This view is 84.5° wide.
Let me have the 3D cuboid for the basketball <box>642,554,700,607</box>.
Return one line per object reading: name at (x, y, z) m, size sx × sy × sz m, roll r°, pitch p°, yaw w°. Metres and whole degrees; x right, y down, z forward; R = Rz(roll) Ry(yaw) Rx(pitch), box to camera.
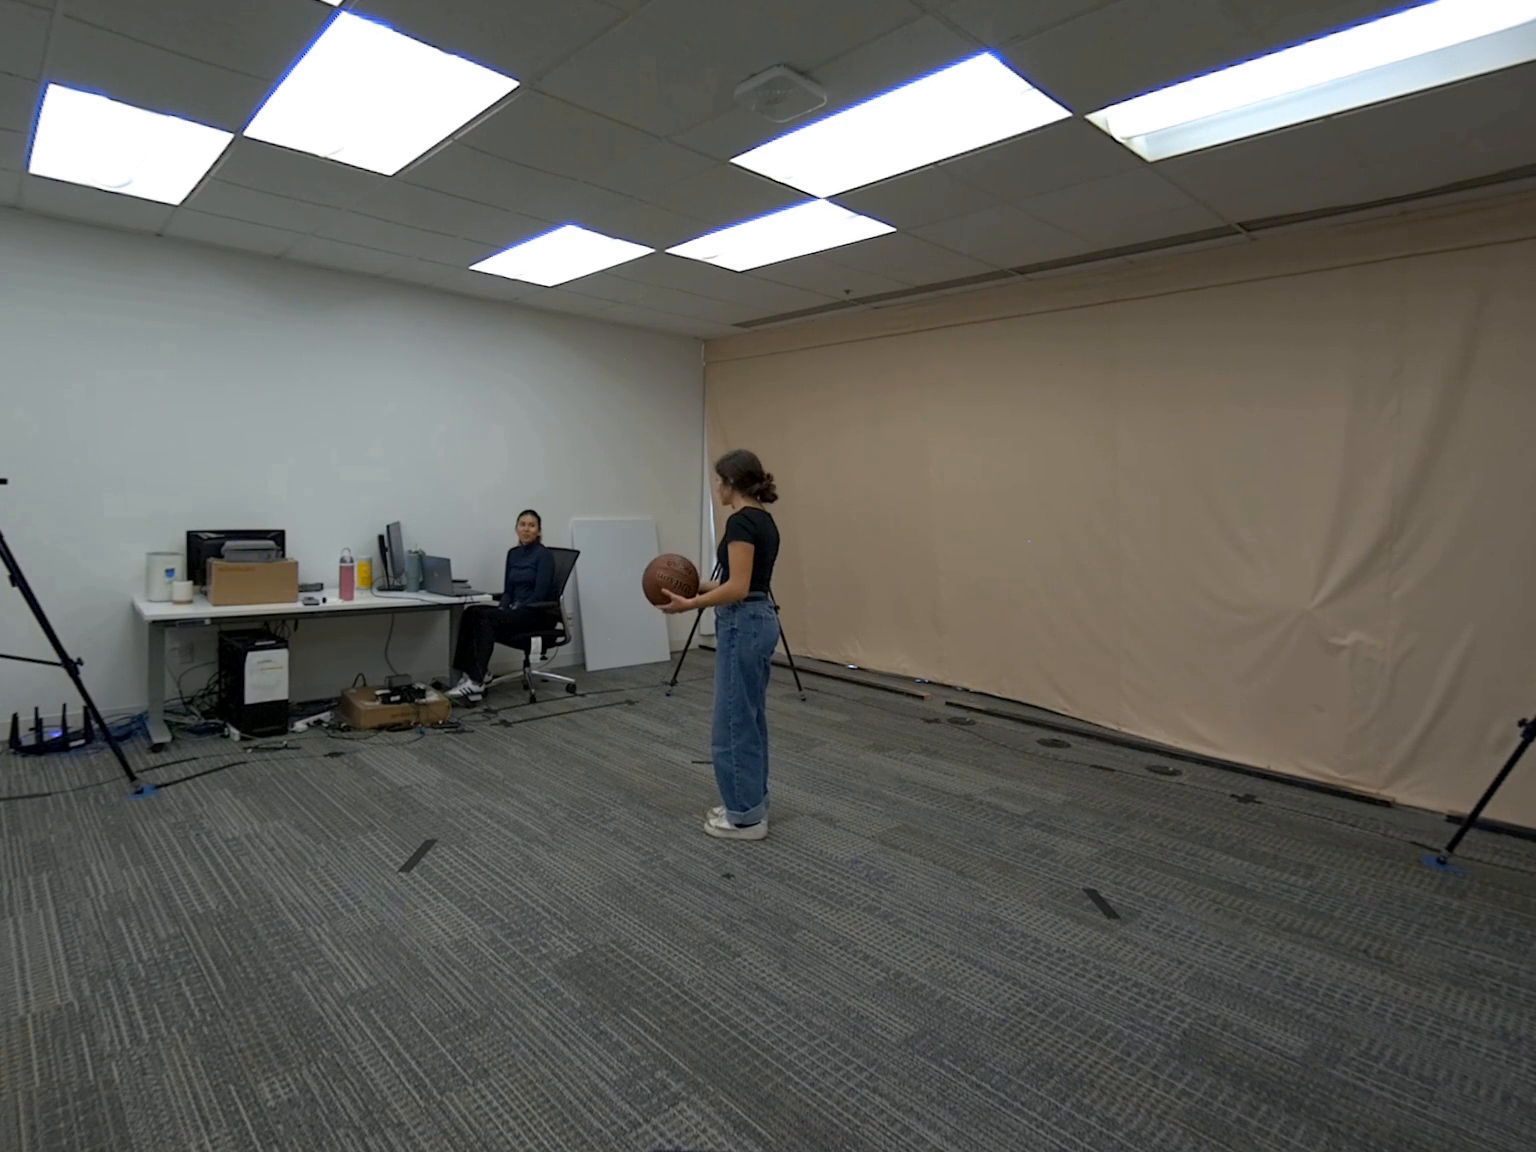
basketball at (-0.402, 0.025, 3.512) m, size 0.236 × 0.235 × 0.237 m, roll 1°, pitch 4°, yaw -1°
